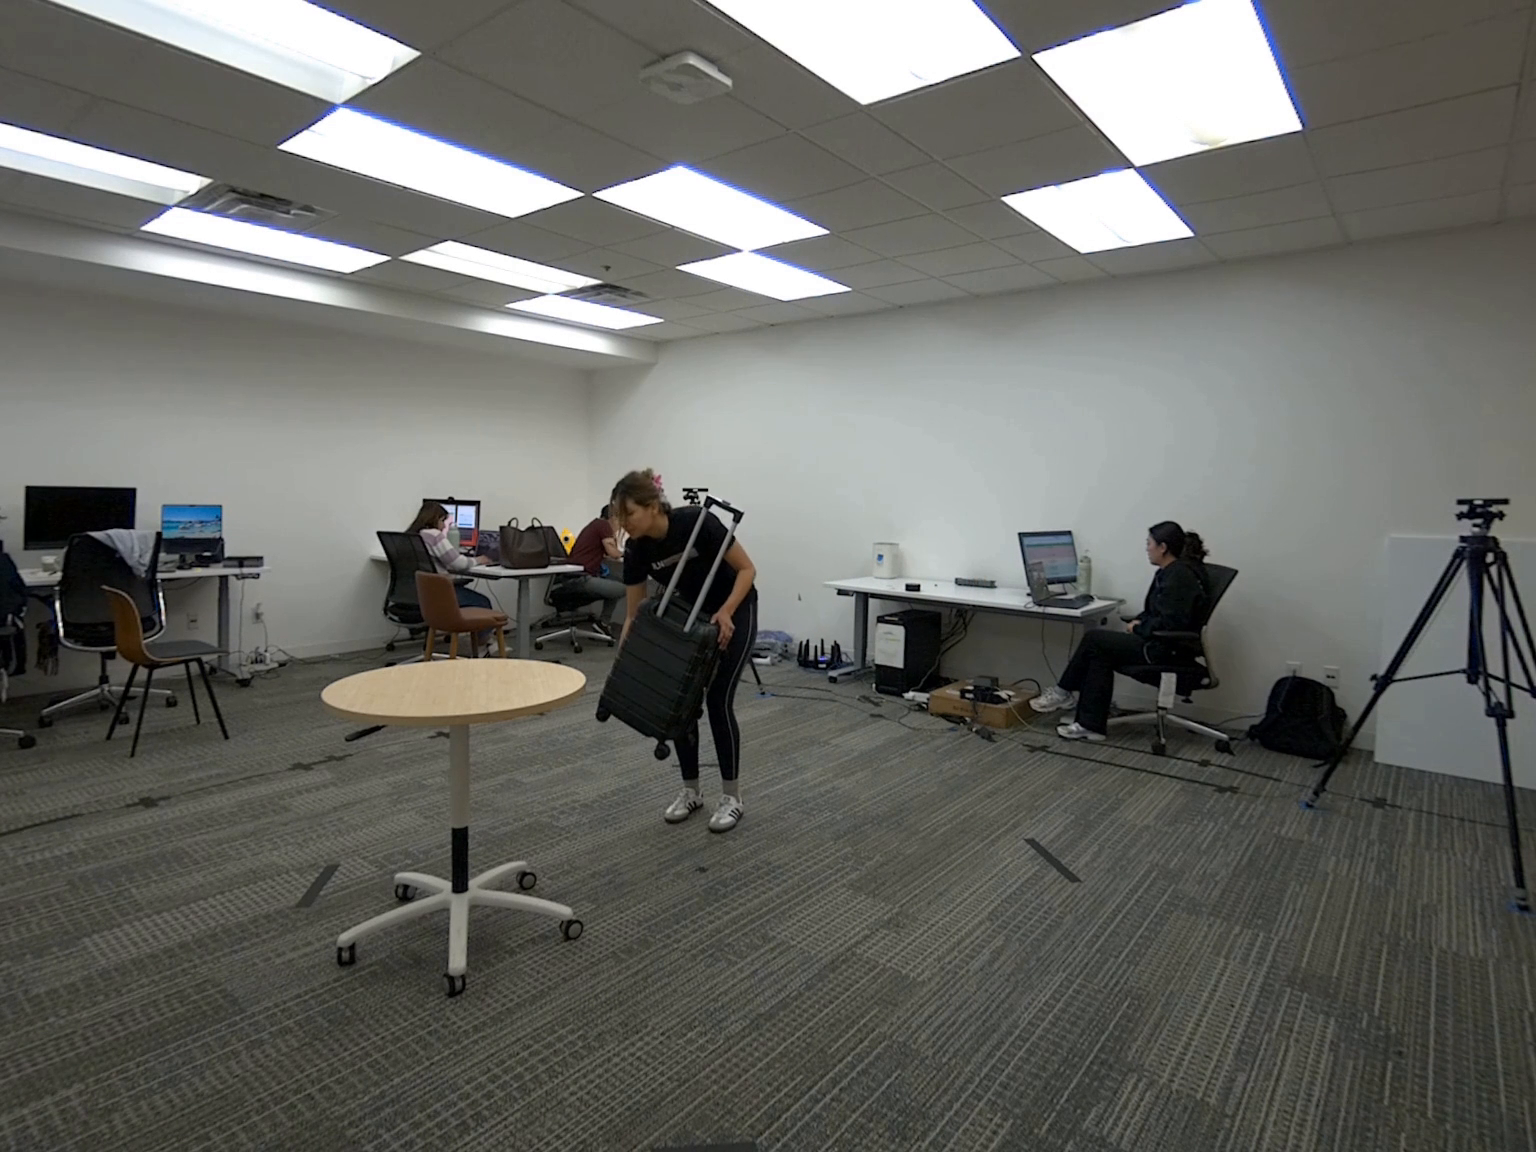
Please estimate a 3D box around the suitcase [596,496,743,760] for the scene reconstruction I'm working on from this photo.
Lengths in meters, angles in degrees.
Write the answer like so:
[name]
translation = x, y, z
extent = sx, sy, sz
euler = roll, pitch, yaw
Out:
[suitcase]
translation = -0.331, 0.173, 3.317
extent = 0.395, 0.976, 0.250
euler = 26, 6, 21
